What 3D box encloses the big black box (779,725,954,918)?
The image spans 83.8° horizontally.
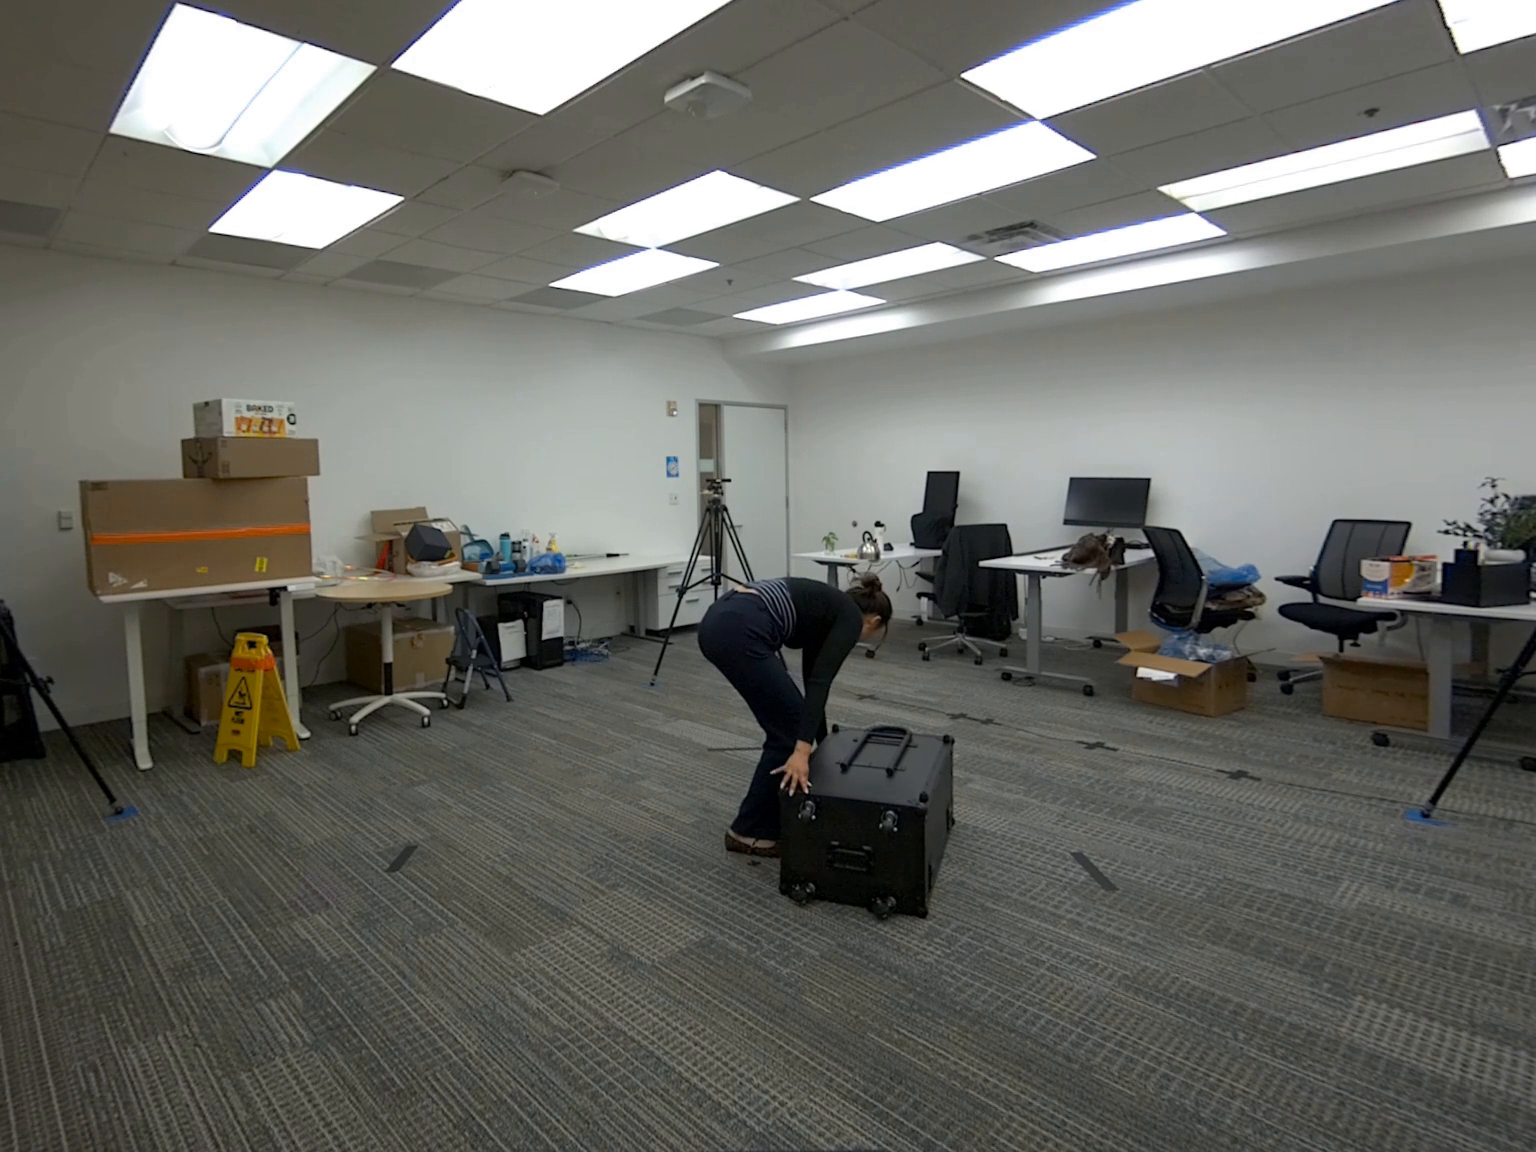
[{"bbox_3d":[0.383,0.843,3.089,0.531,0.394,0.850,1,8,19],"label":"big black box"}]
